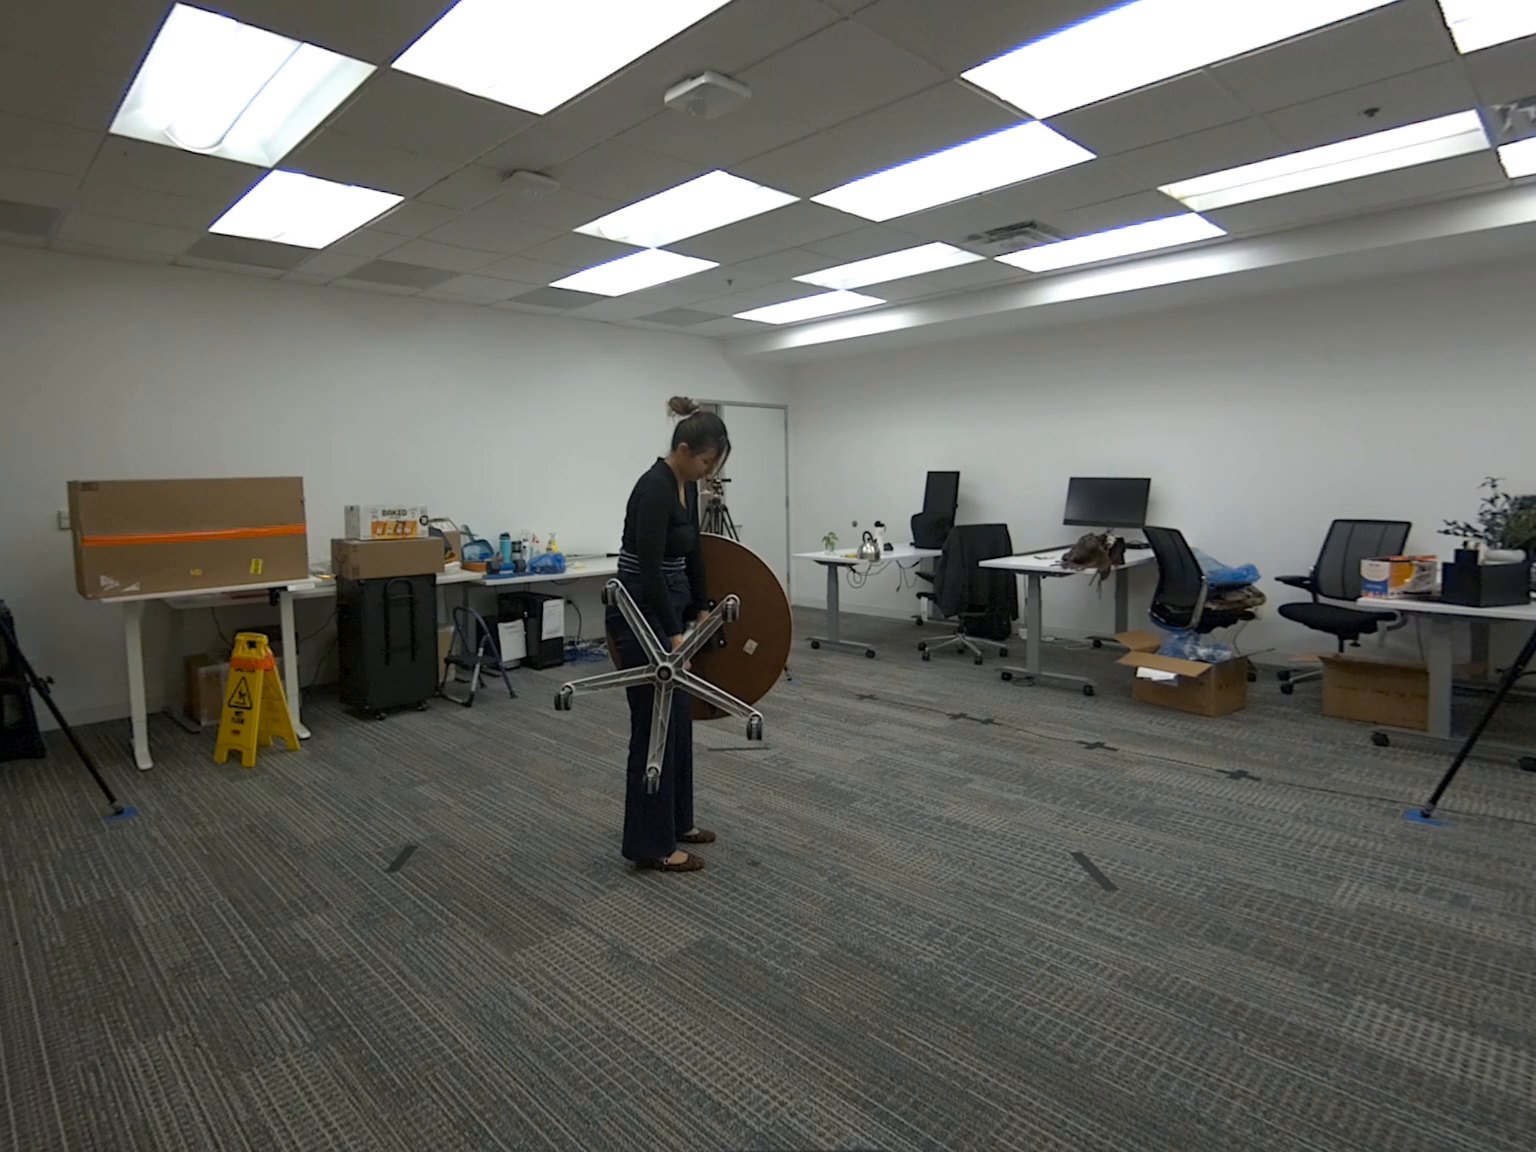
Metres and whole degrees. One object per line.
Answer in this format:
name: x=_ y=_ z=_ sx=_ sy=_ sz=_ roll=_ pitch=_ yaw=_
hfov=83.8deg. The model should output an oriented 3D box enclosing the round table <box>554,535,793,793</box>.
round table: x=-0.308 y=0.276 z=3.073 sx=0.769 sy=0.758 sz=0.795 roll=0 pitch=8 yaw=6
